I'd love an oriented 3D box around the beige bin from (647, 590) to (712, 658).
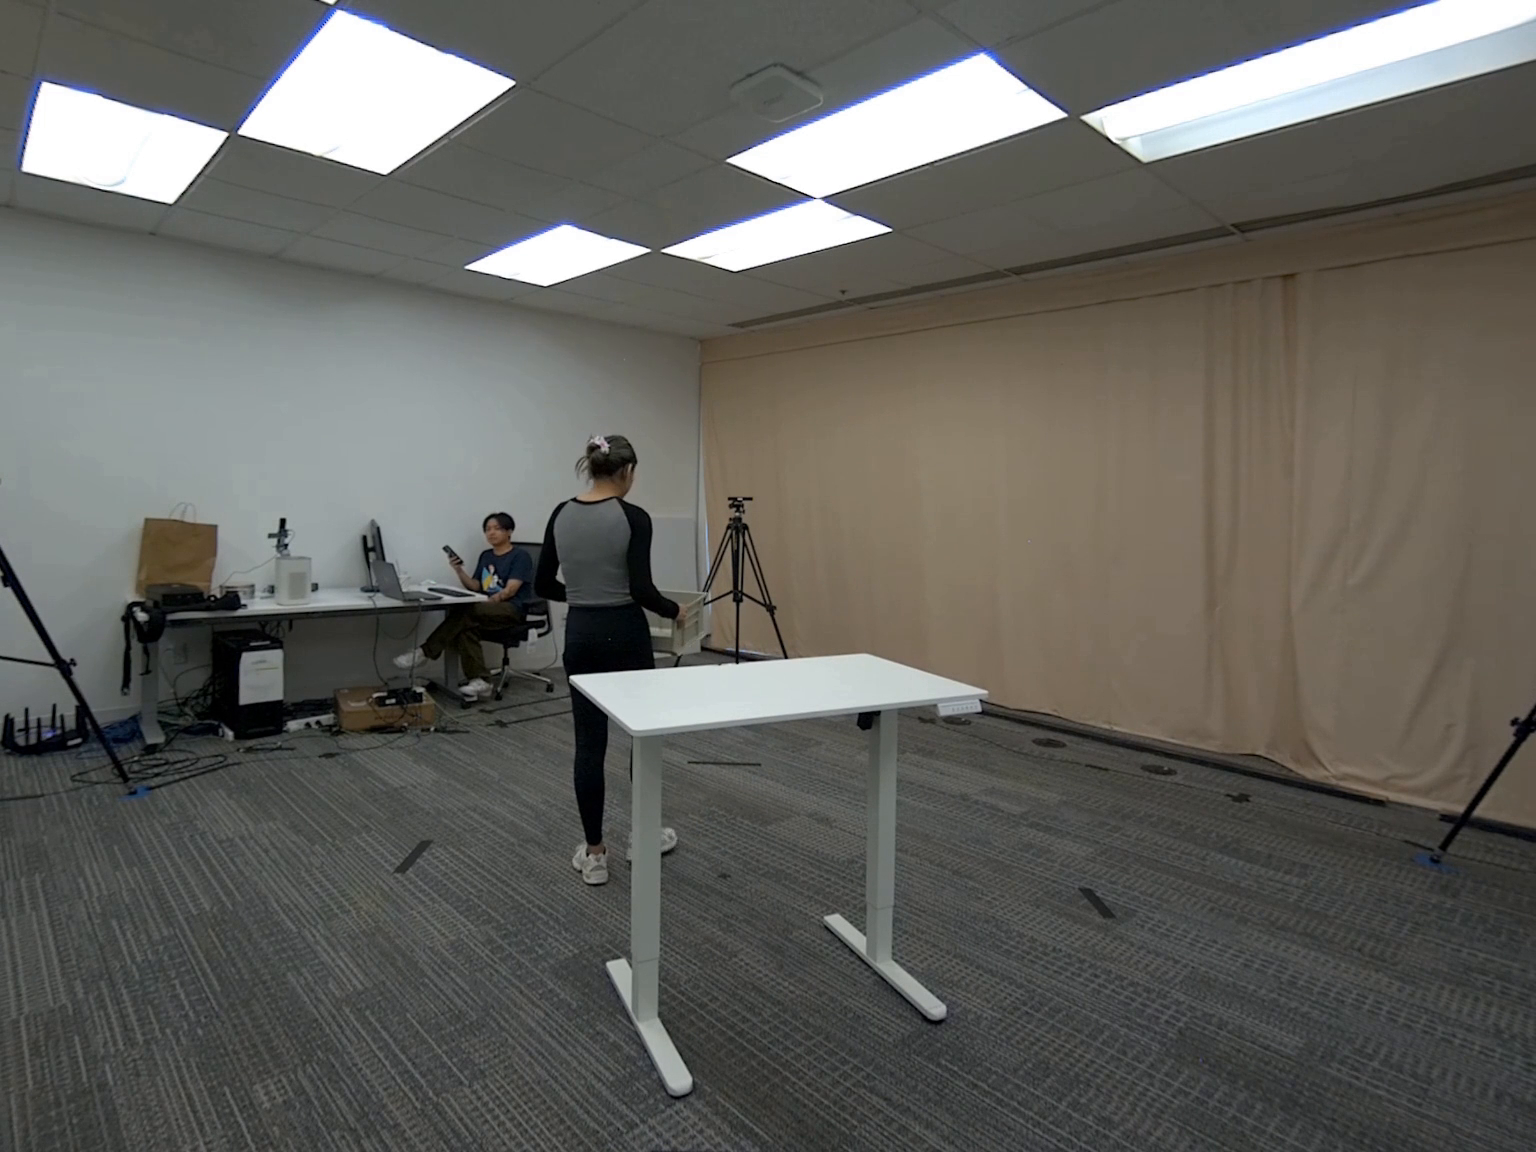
[{"bbox_3d":[-0.505,0.181,3.391,0.428,0.188,0.374,3,8,16],"label":"beige bin"}]
